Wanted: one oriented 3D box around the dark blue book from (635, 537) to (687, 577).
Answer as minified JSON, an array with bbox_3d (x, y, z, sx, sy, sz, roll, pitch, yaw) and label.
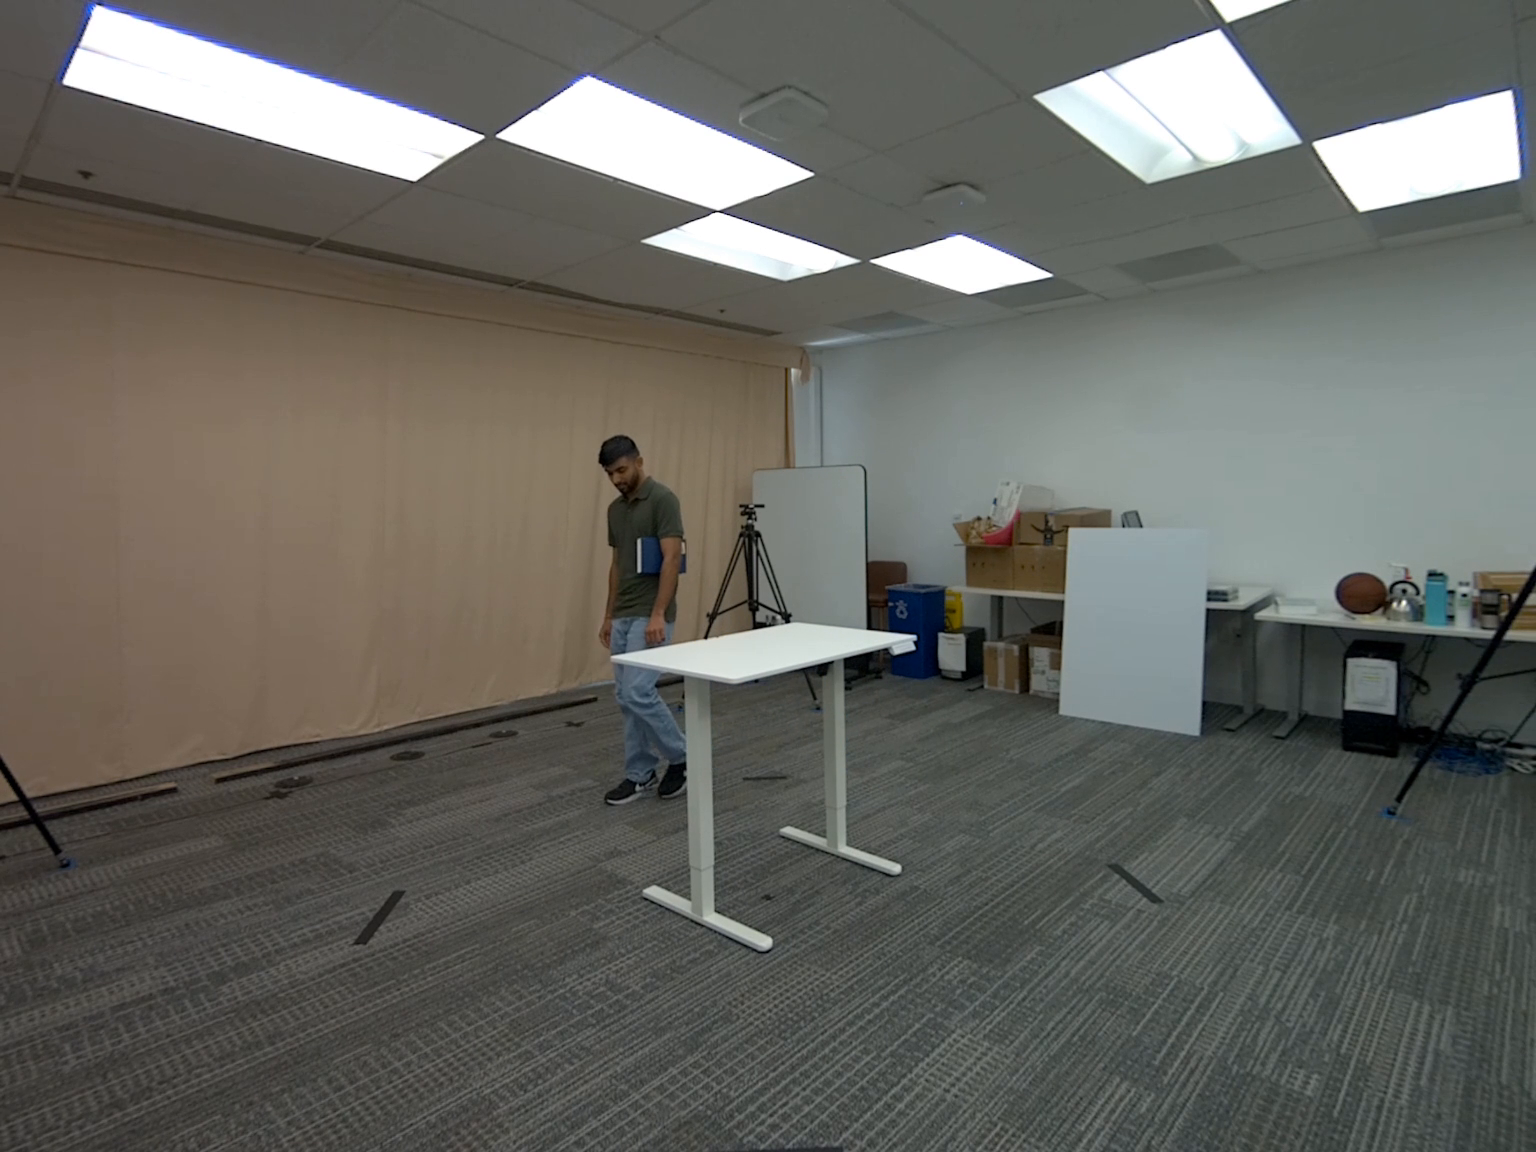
[{"bbox_3d":[-0.488,-0.090,3.906,0.238,0.163,0.046,-1,0,-34],"label":"dark blue book"}]
